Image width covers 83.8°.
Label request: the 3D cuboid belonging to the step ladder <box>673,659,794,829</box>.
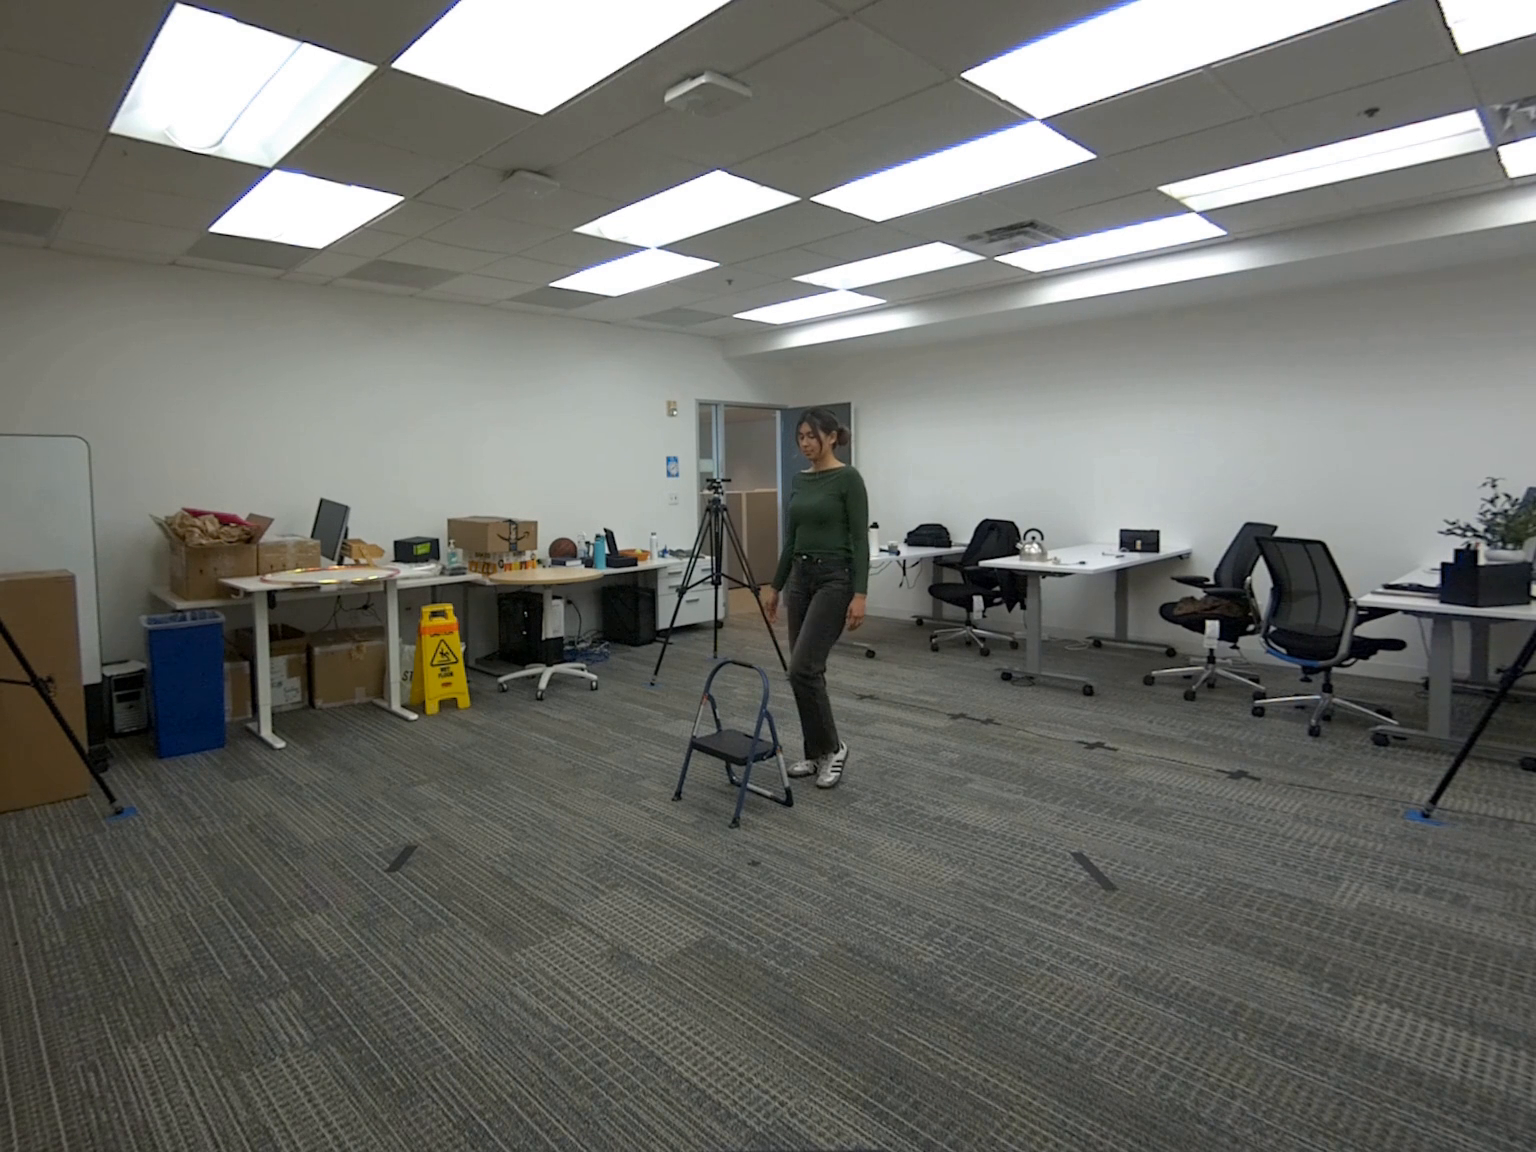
[{"bbox_3d":[-0.157,0.679,3.669,0.340,0.604,0.444,-4,5,-41],"label":"step ladder"}]
